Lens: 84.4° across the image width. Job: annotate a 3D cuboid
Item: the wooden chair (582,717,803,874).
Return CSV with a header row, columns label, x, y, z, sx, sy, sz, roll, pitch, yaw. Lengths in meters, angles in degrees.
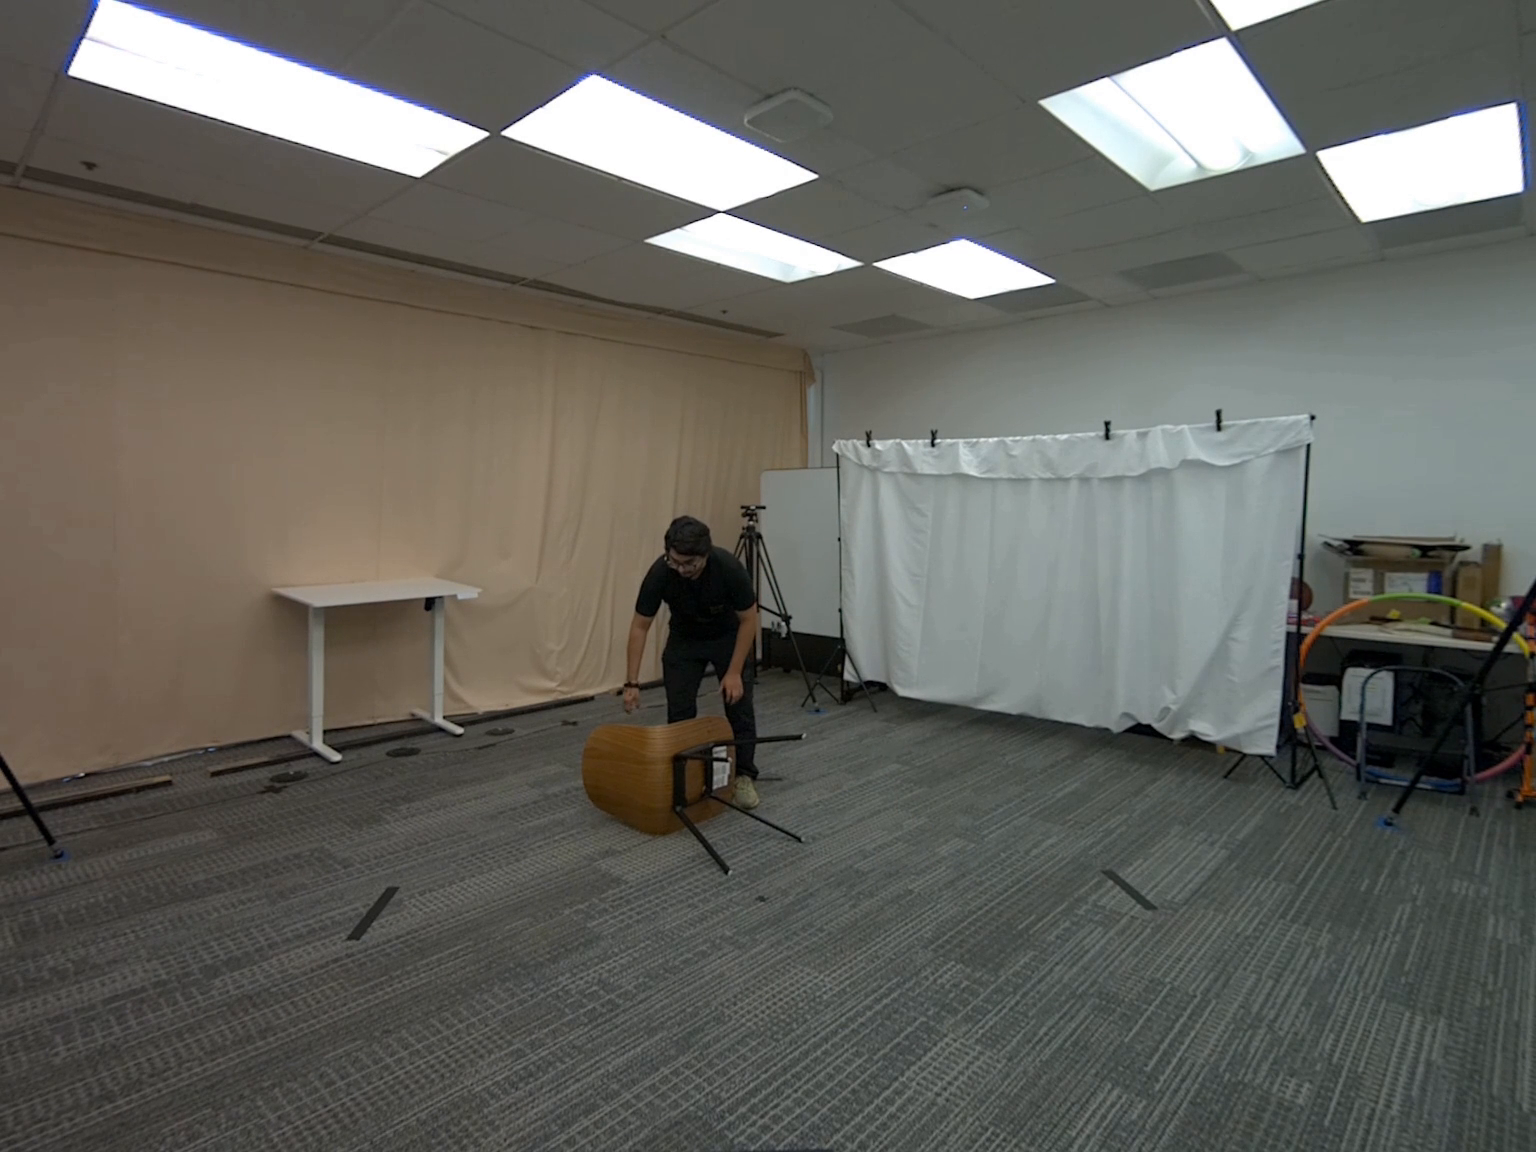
label,x,y,z,sx,sy,sz,roll,pitch,yaw
wooden chair,-0.315,0.862,3.617,0.906,0.477,0.508,3,5,38
